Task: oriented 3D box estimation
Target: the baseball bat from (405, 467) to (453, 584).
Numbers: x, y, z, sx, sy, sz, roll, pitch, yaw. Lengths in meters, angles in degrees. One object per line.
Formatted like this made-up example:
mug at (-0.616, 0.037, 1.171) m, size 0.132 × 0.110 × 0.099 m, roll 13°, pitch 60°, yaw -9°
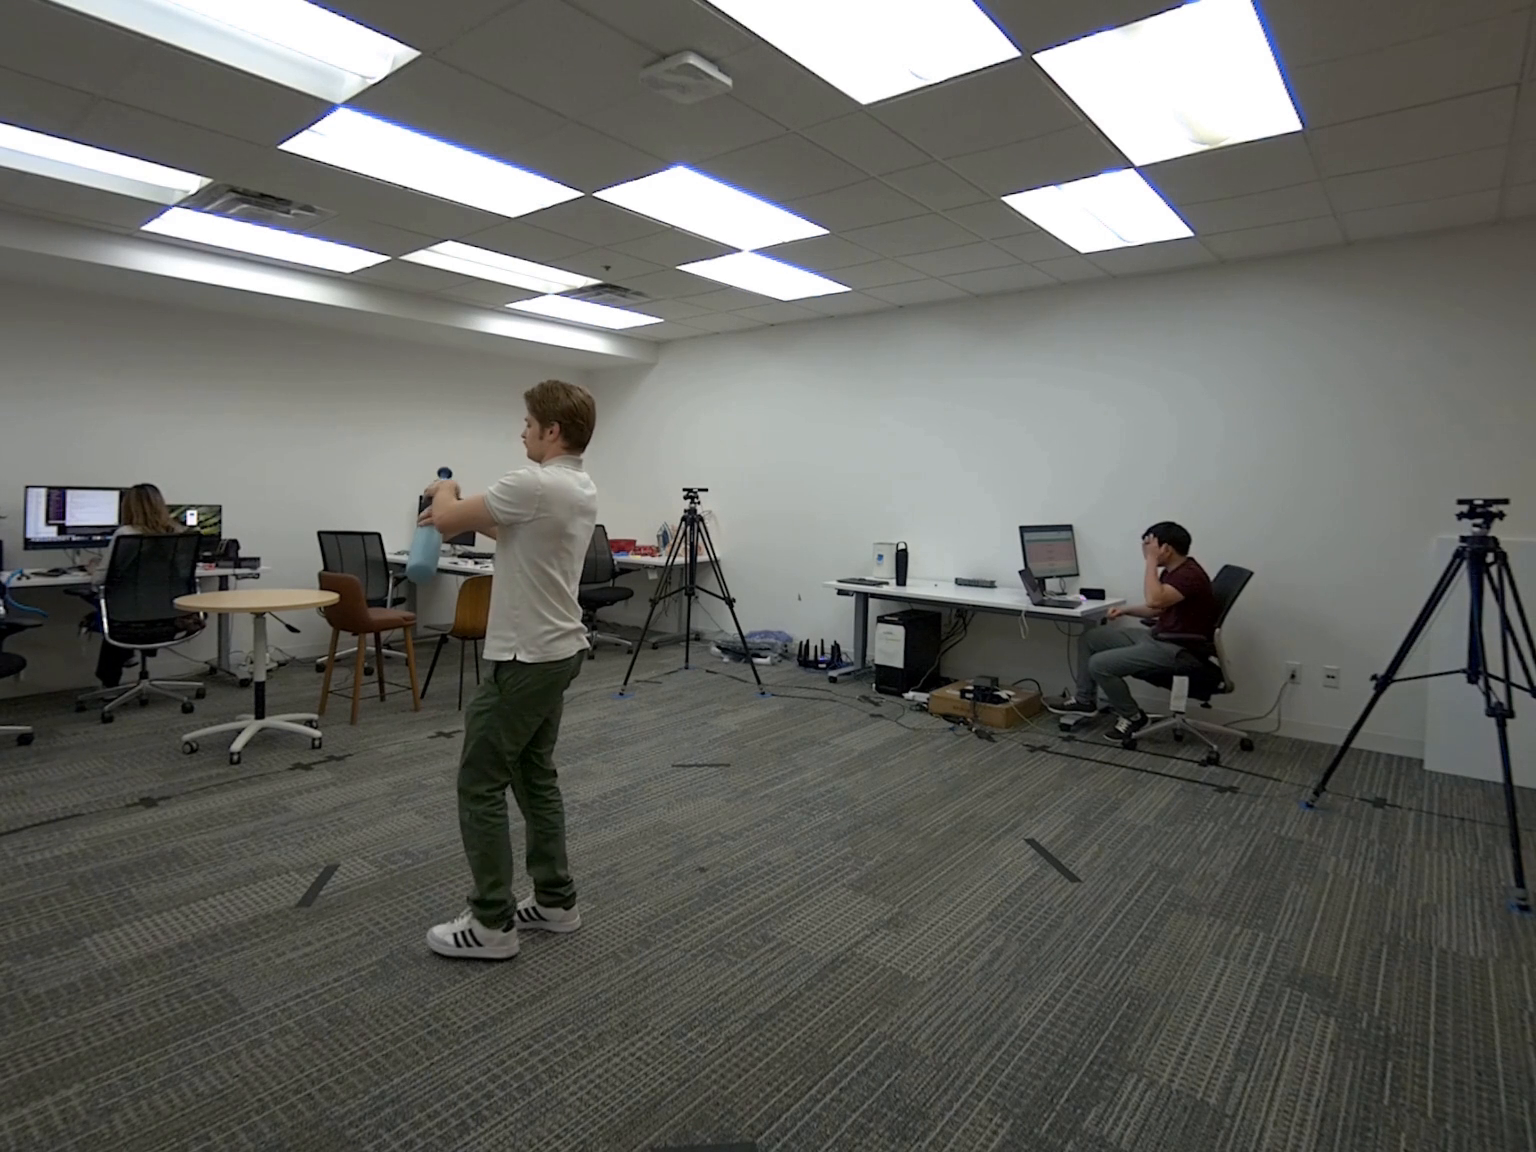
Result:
baseball bat at (-1.096, -0.180, 2.755) m, size 0.088 × 0.087 × 0.562 m, roll -1°, pitch 41°, yaw -12°
